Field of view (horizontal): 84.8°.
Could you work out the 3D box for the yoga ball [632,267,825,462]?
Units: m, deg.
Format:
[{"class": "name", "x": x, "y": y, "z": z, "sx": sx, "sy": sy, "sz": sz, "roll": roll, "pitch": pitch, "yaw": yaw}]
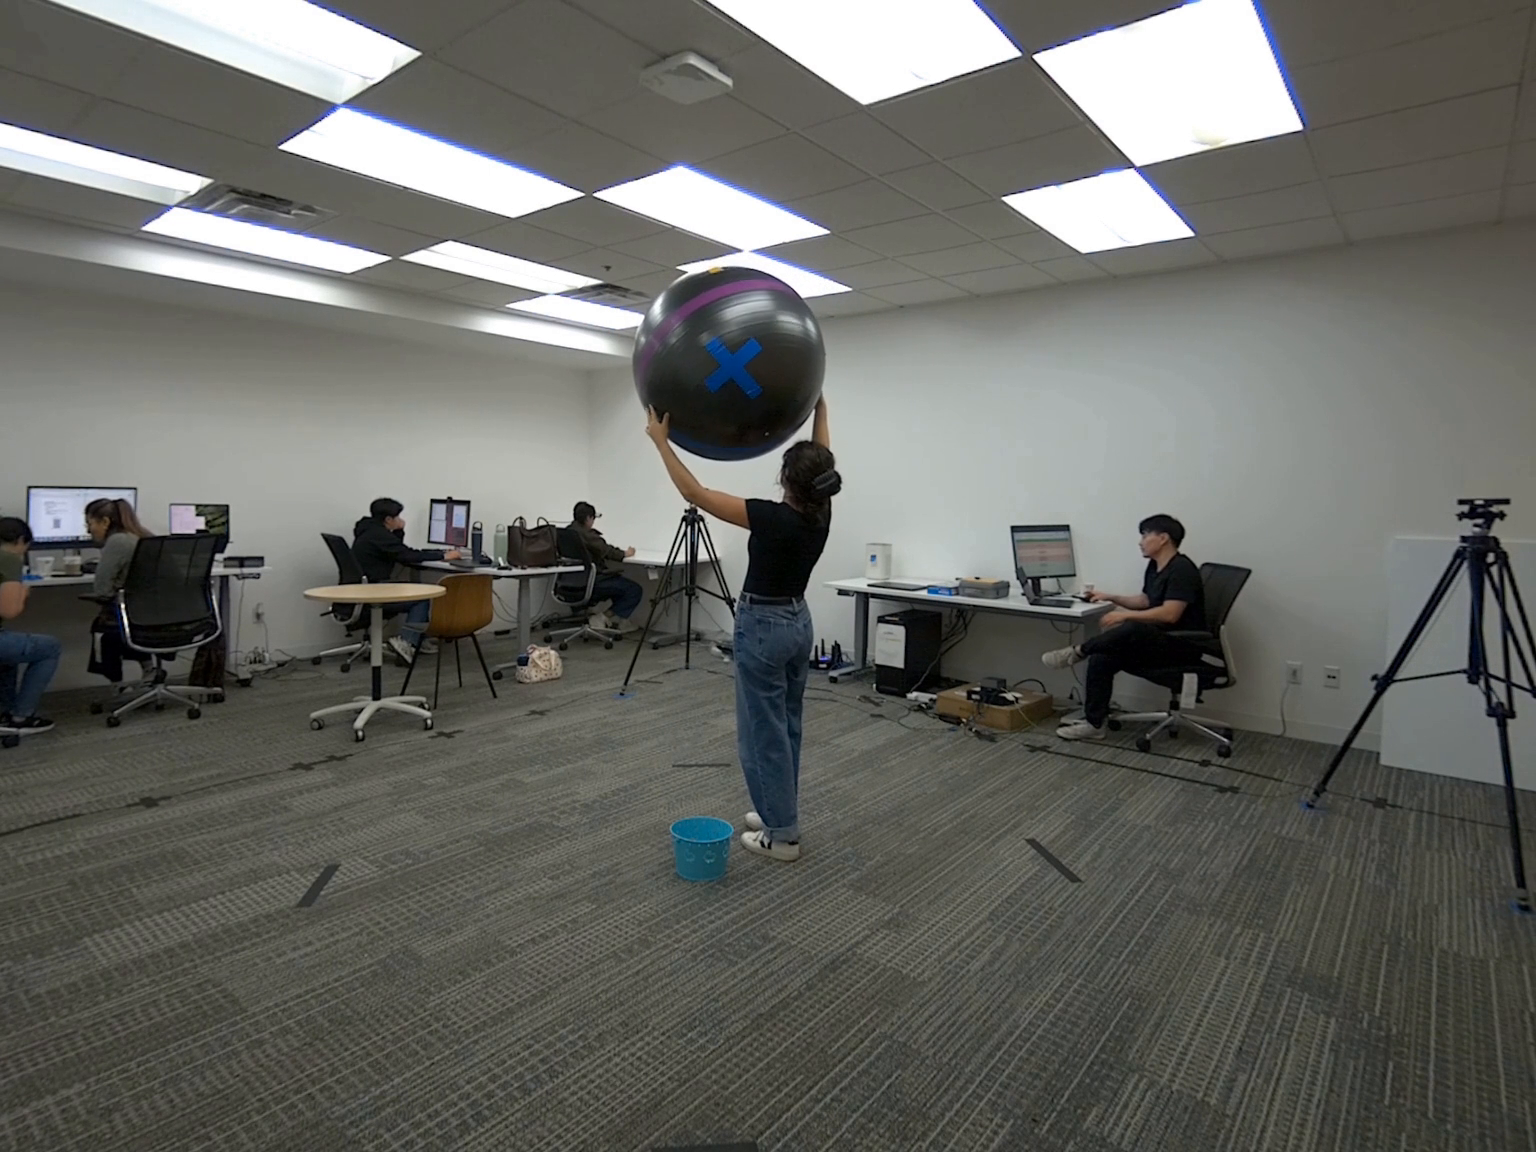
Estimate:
[{"class": "yoga ball", "x": -0.165, "y": -0.834, "z": 3.347, "sx": 0.757, "sy": 0.756, "sz": 0.762, "roll": 1, "pitch": 4, "yaw": -2}]
